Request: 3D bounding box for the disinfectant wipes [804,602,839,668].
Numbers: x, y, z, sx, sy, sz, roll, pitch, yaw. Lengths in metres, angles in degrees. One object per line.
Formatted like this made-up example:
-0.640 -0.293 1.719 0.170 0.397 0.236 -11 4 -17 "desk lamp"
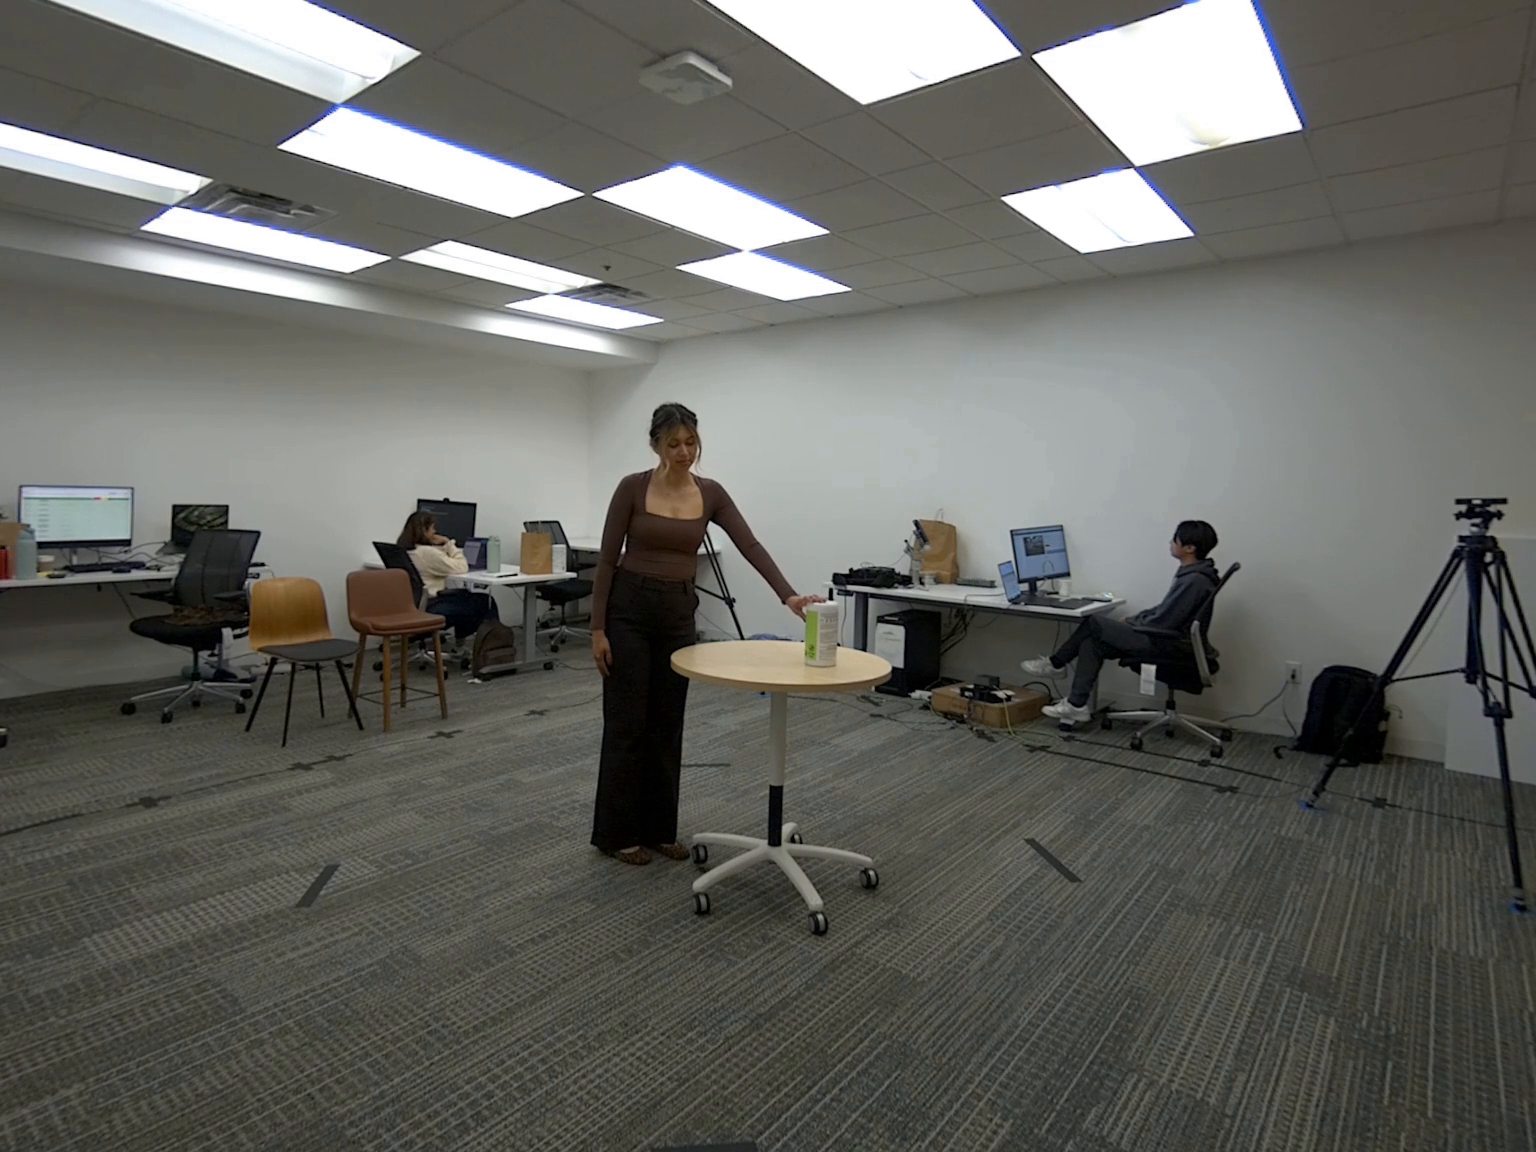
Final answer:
0.178 0.195 2.912 0.118 0.217 0.118 0 3 -2 "disinfectant wipes"
